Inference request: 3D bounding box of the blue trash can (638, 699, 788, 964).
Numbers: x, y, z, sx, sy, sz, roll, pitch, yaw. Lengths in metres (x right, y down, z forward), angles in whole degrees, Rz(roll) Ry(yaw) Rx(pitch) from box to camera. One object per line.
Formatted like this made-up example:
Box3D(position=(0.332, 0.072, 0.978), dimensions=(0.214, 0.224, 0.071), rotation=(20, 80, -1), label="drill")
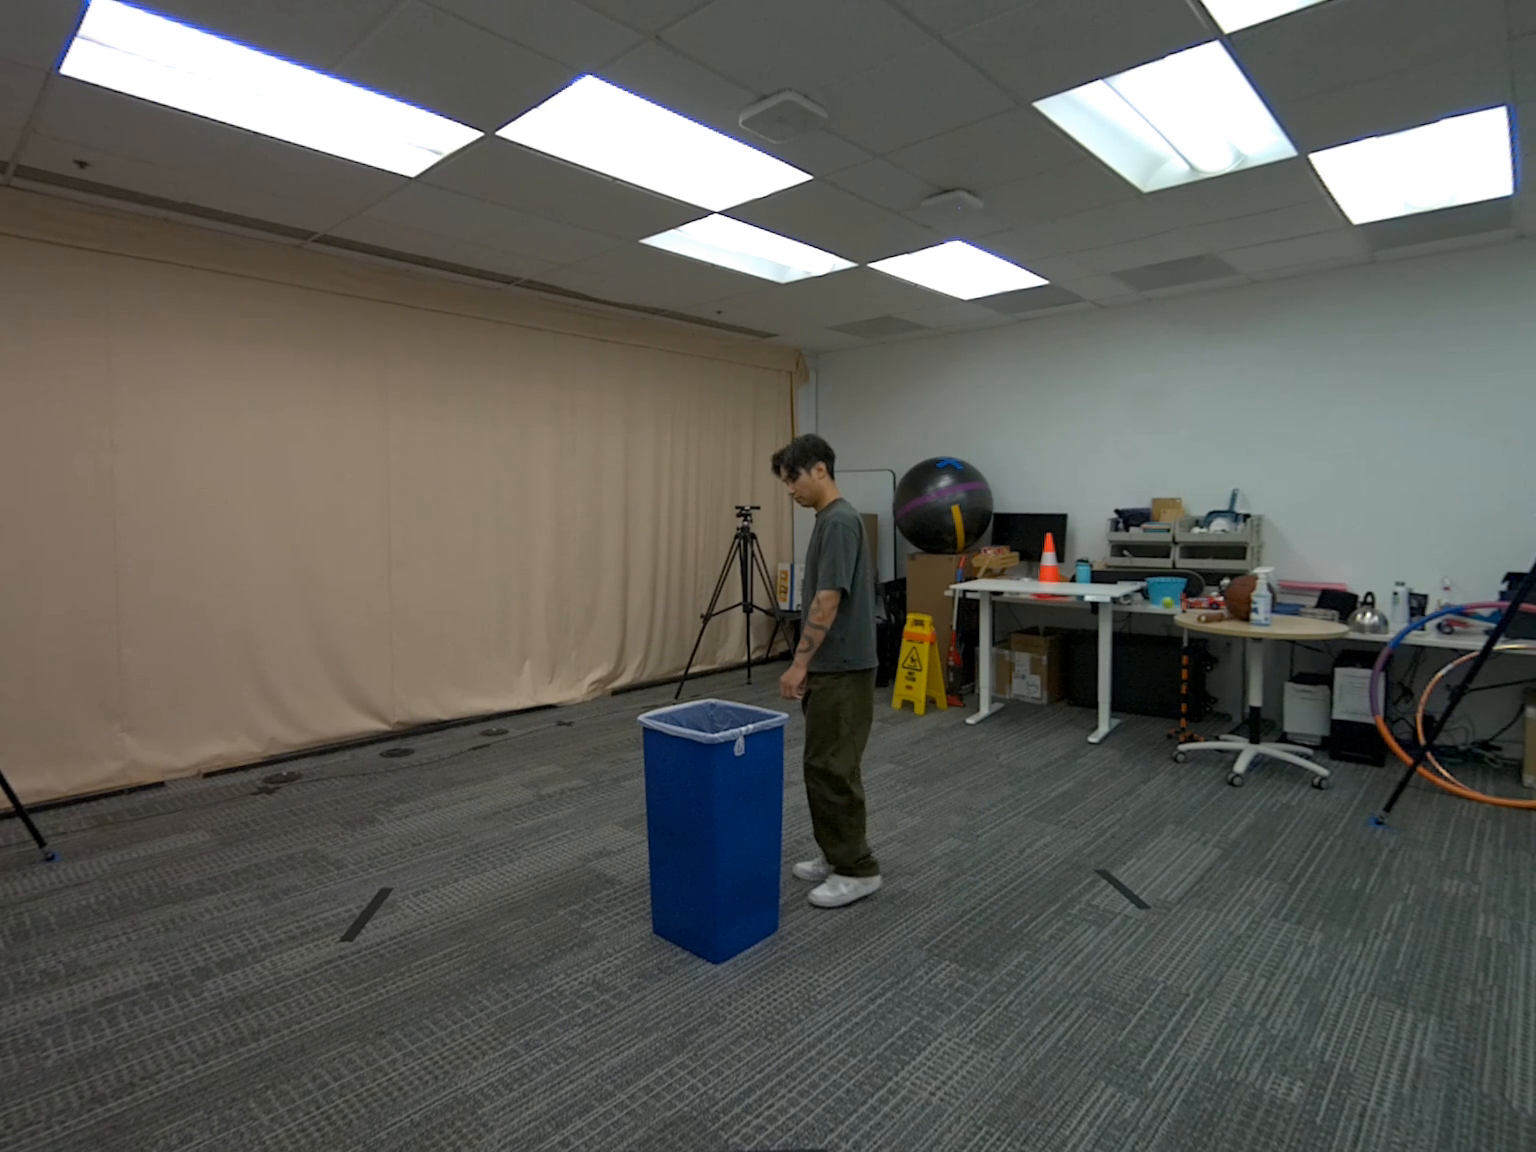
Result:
Box3D(position=(-0.180, 0.807, 2.743), dimensions=(0.386, 0.712, 0.366), rotation=(3, 4, 42), label="blue trash can")
